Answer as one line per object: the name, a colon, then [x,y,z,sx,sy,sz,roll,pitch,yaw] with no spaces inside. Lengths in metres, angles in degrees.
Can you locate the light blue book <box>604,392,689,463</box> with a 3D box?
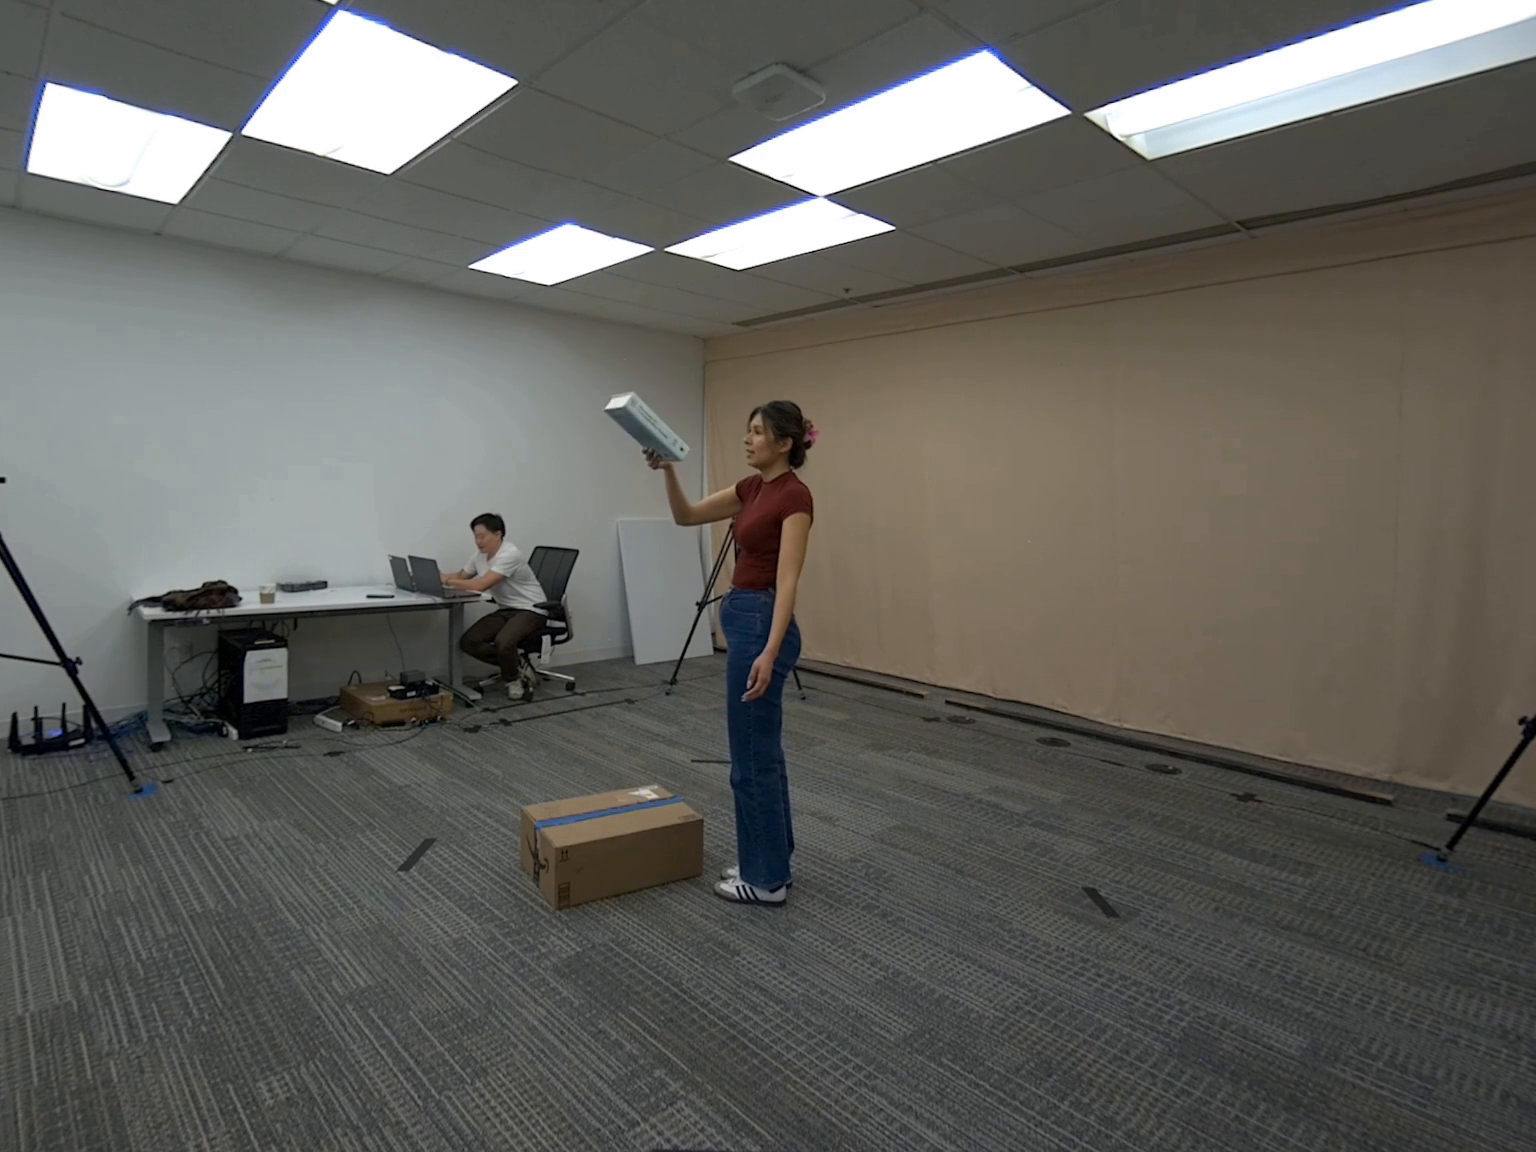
light blue book: [-0.401,-0.476,2.729,0.254,0.059,0.196,44,-16,-27]
